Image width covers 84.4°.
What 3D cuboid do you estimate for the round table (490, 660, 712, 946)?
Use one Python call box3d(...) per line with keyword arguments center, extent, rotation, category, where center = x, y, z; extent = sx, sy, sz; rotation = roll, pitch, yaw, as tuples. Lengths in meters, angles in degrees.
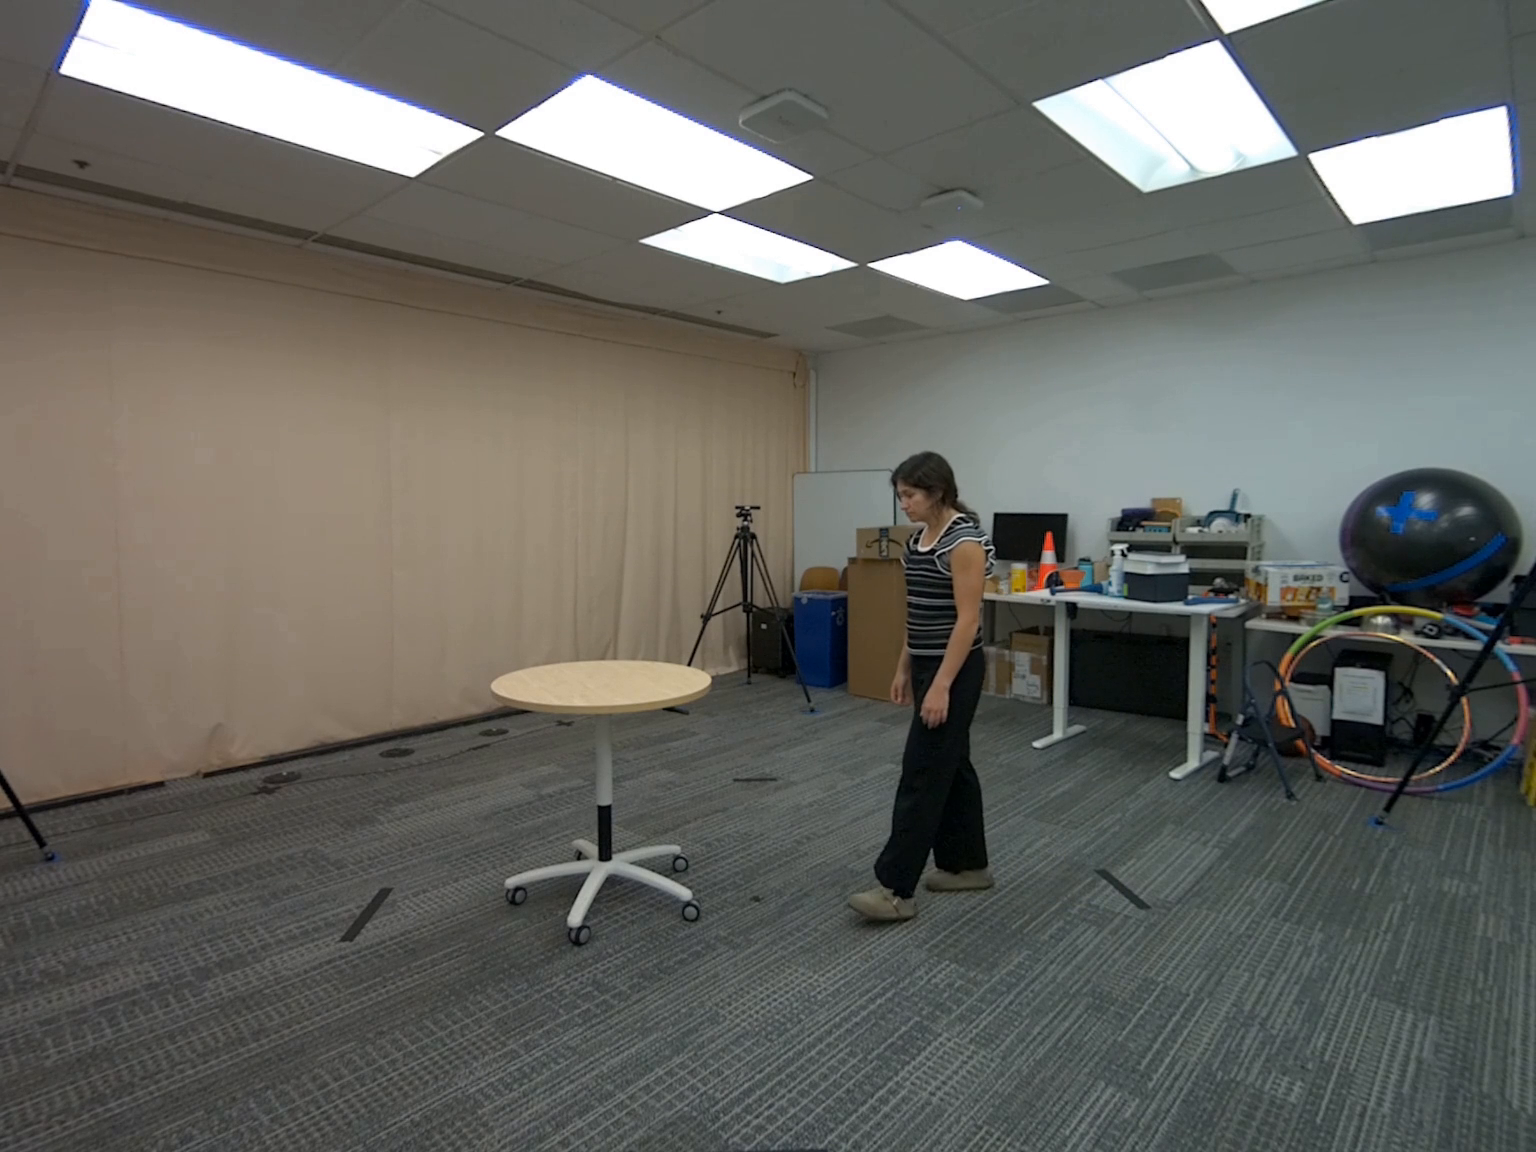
box3d(center=(-0.578, 0.766, 2.984), extent=(0.763, 0.792, 0.766), rotation=(0, 3, -2), category="round table")
